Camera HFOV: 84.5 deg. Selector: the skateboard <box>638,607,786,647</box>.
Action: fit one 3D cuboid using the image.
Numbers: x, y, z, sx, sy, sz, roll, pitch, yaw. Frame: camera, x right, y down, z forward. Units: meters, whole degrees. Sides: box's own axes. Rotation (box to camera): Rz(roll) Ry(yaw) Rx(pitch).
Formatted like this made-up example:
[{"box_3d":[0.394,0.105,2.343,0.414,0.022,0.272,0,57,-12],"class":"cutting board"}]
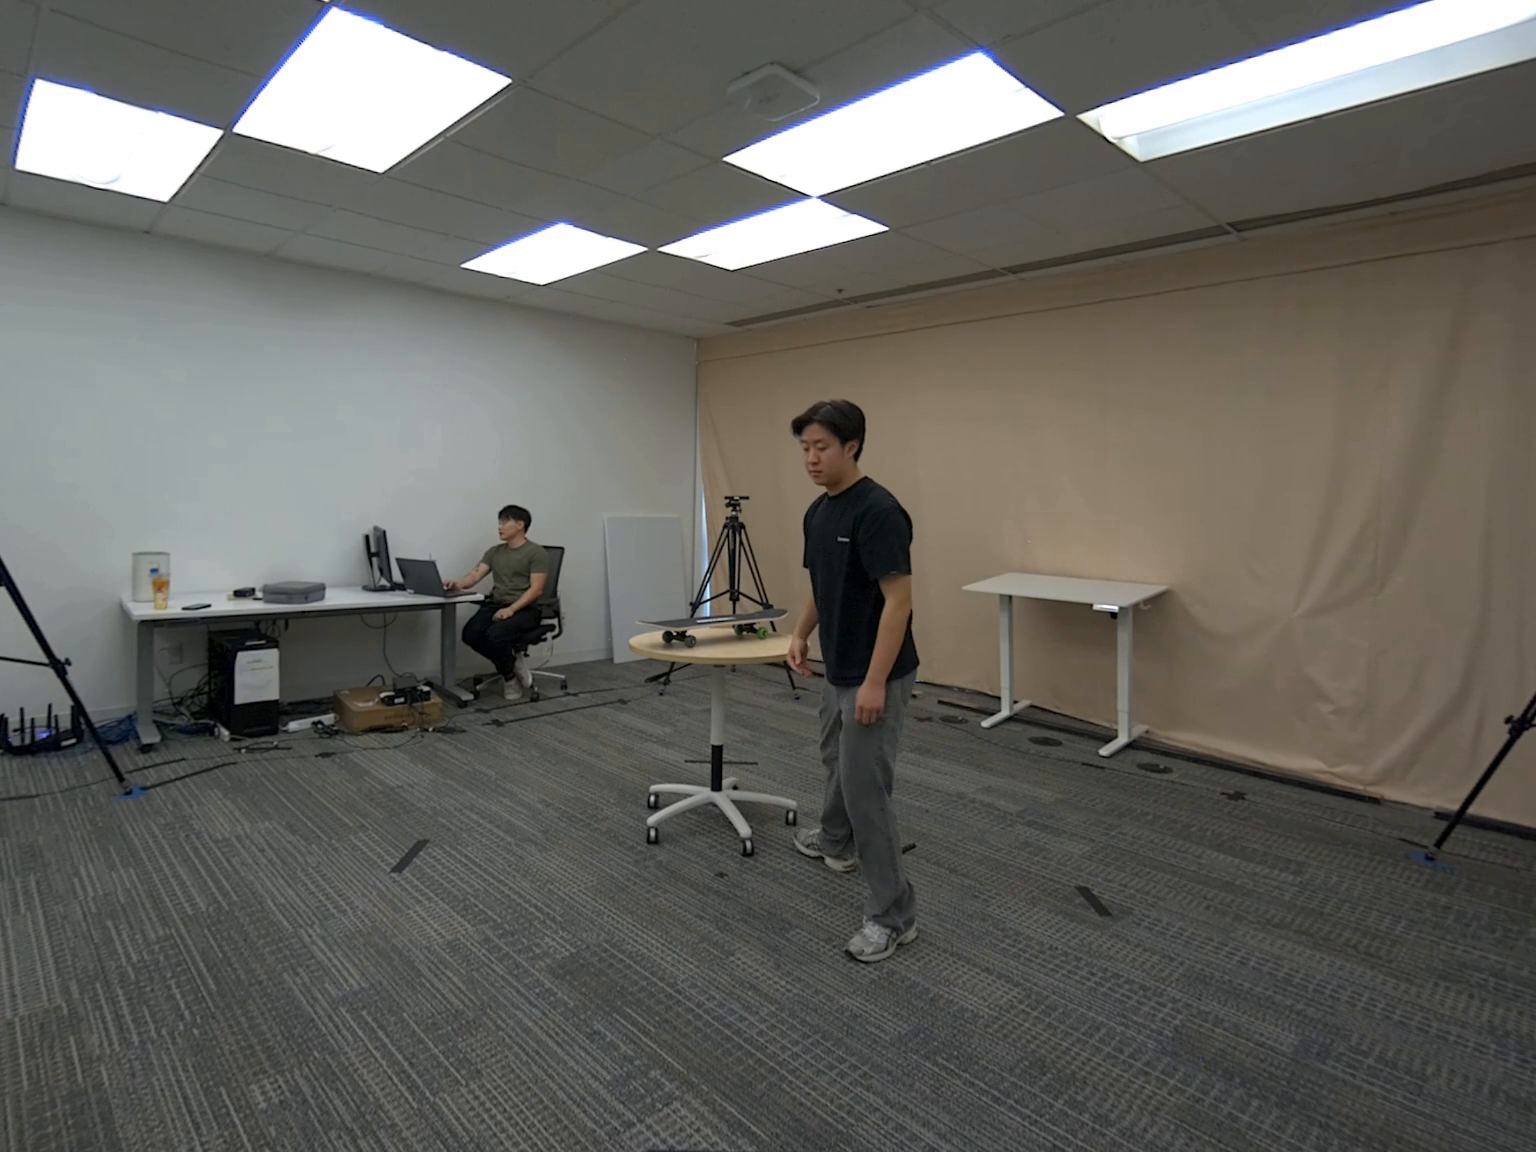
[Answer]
[{"box_3d":[-0.225,0.225,3.594,0.768,0.110,0.198,-3,3,-39],"class":"skateboard"}]
